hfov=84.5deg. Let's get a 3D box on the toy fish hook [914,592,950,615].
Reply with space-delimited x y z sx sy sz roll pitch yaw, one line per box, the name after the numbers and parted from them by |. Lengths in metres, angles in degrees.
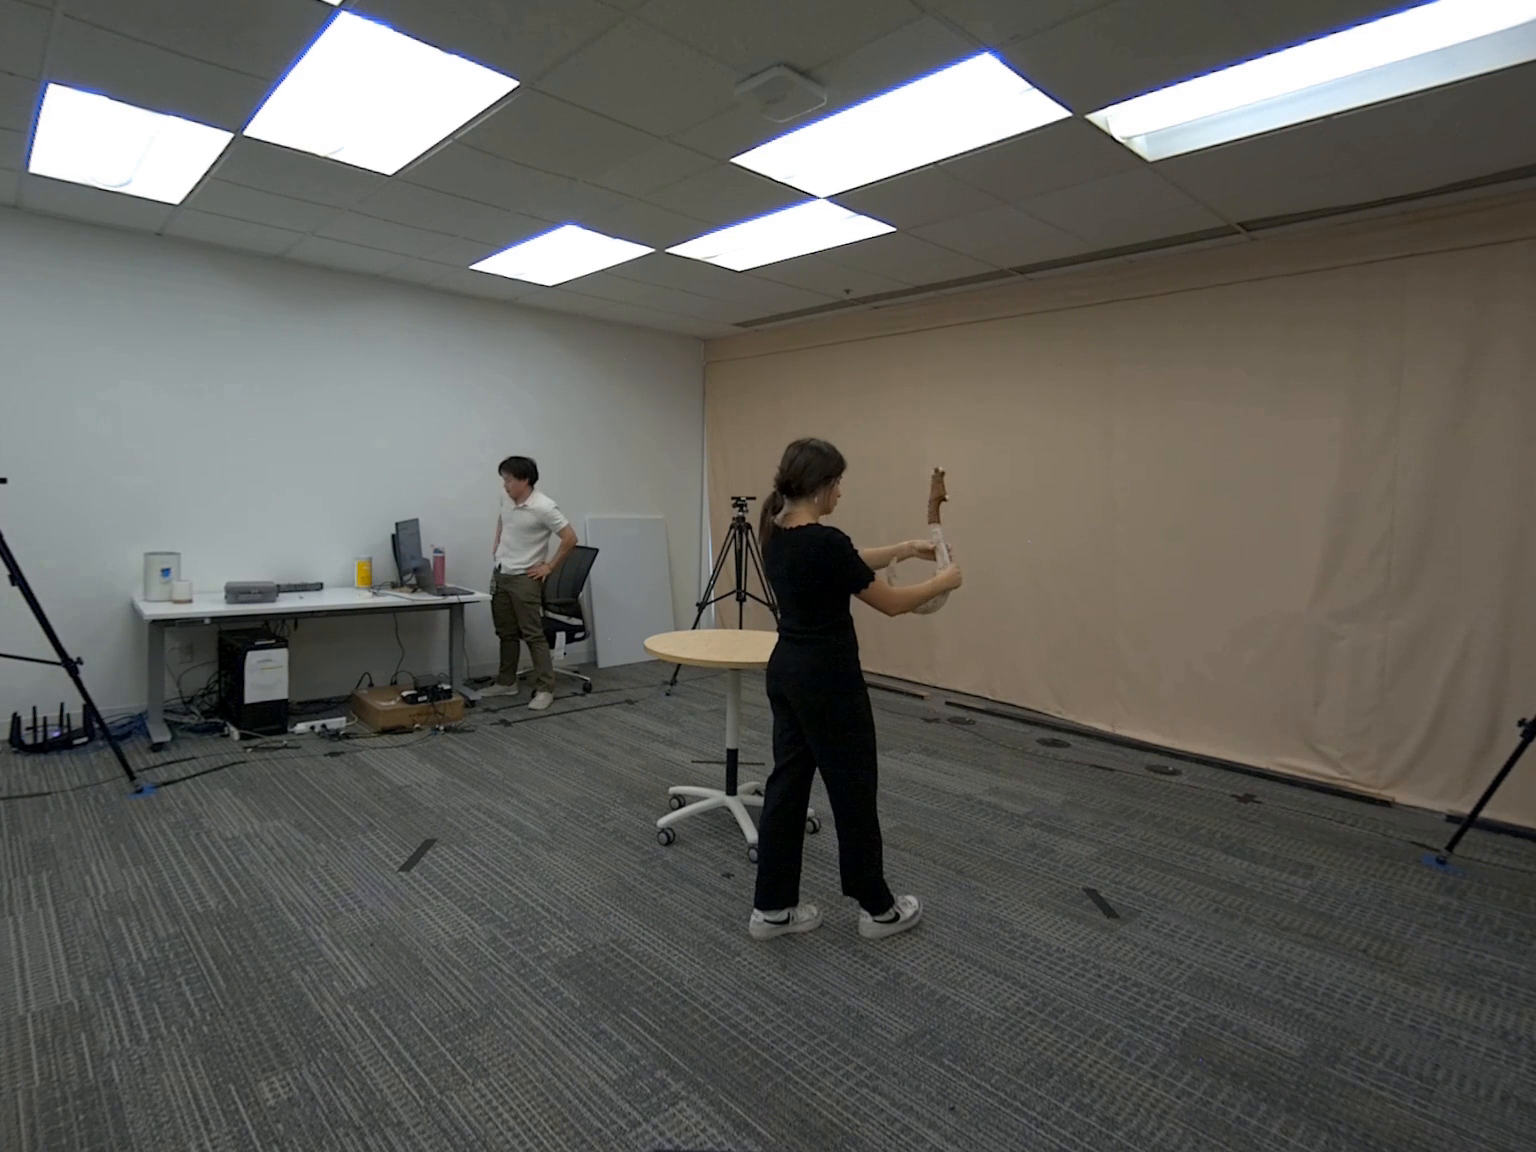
0.510 -0.113 2.823 0.228 0.511 0.047 -3 -16 26 | toy fish hook
